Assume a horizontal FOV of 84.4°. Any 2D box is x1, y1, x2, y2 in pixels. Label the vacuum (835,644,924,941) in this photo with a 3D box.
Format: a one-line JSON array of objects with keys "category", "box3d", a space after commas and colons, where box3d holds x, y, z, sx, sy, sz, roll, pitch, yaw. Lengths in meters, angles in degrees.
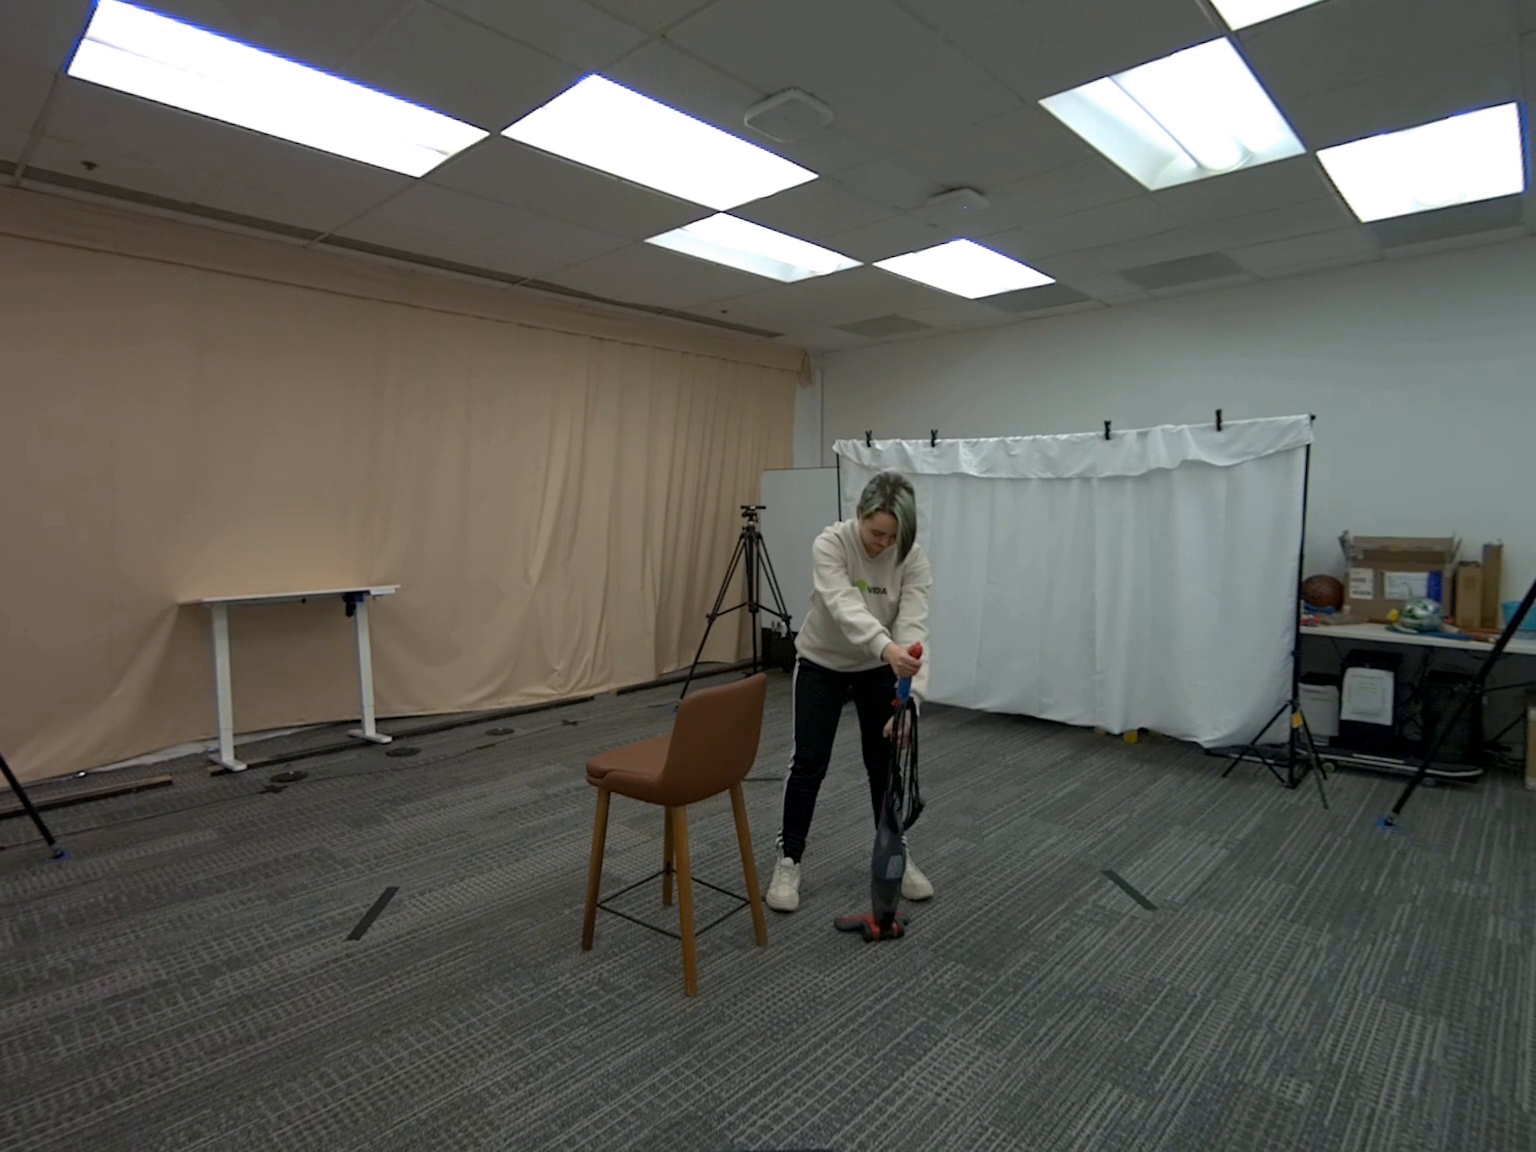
[{"category": "vacuum", "box3d": [0.394, 0.697, 2.545, 0.249, 1.036, 0.148, -3, 26, -15]}]
